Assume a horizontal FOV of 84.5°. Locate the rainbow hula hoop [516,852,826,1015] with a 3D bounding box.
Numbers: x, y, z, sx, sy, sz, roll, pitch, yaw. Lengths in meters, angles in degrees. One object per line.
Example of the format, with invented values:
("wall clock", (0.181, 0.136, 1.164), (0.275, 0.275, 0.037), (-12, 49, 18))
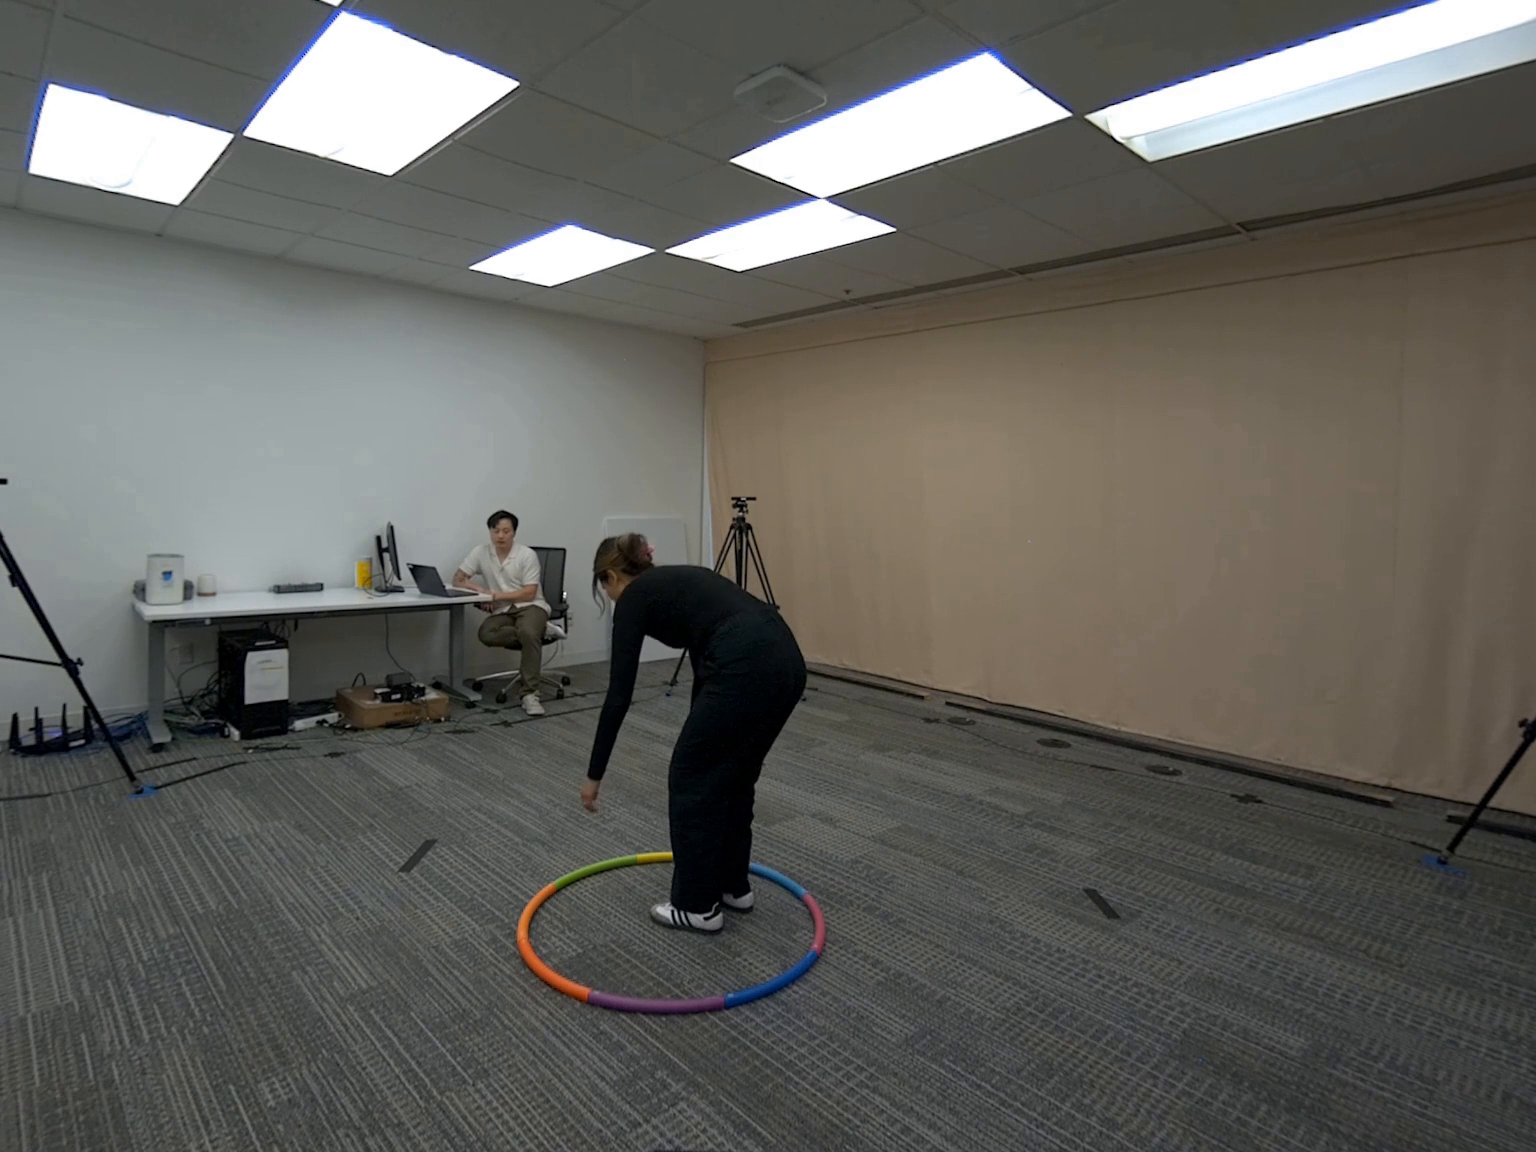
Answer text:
("rainbow hula hoop", (-0.310, 1.108, 2.748), (0.978, 0.035, 0.982), (1, 5, -1))
